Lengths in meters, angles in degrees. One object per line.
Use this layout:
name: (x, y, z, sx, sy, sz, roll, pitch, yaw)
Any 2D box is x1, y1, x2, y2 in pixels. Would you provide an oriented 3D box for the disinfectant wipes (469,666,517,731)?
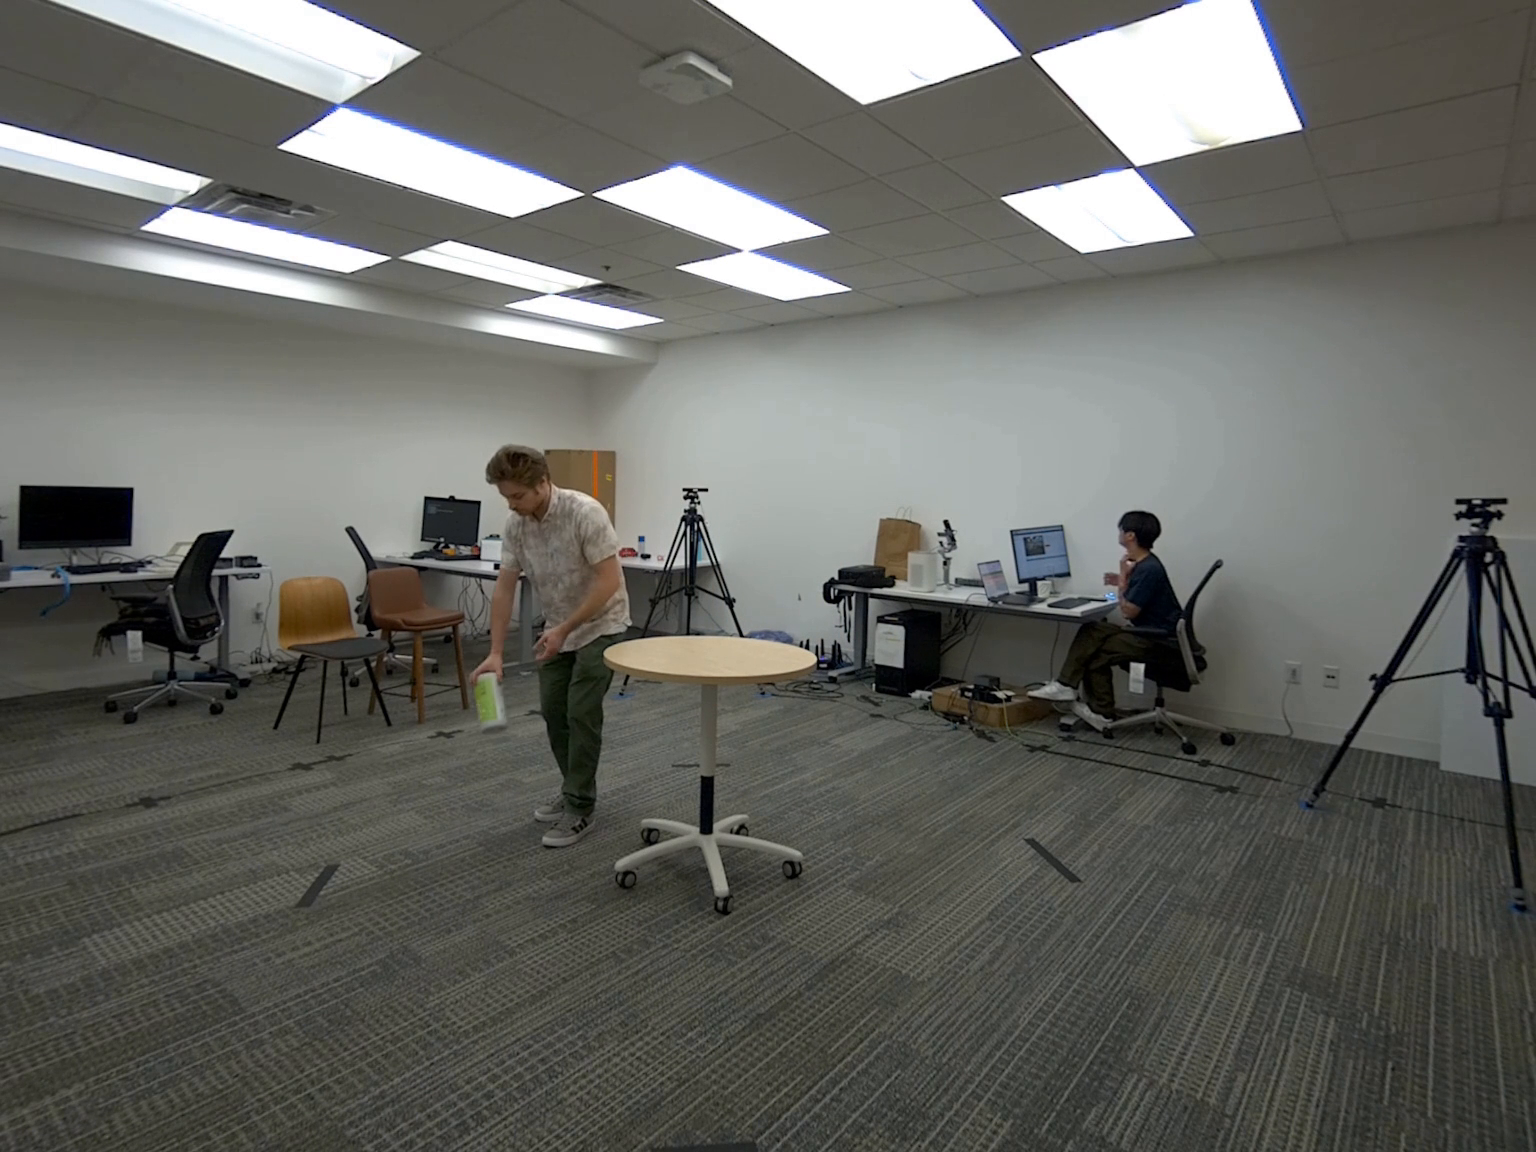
disinfectant wipes: (-1.079, 0.470, 3.293, 0.117, 0.223, 0.115, -15, -21, -8)
